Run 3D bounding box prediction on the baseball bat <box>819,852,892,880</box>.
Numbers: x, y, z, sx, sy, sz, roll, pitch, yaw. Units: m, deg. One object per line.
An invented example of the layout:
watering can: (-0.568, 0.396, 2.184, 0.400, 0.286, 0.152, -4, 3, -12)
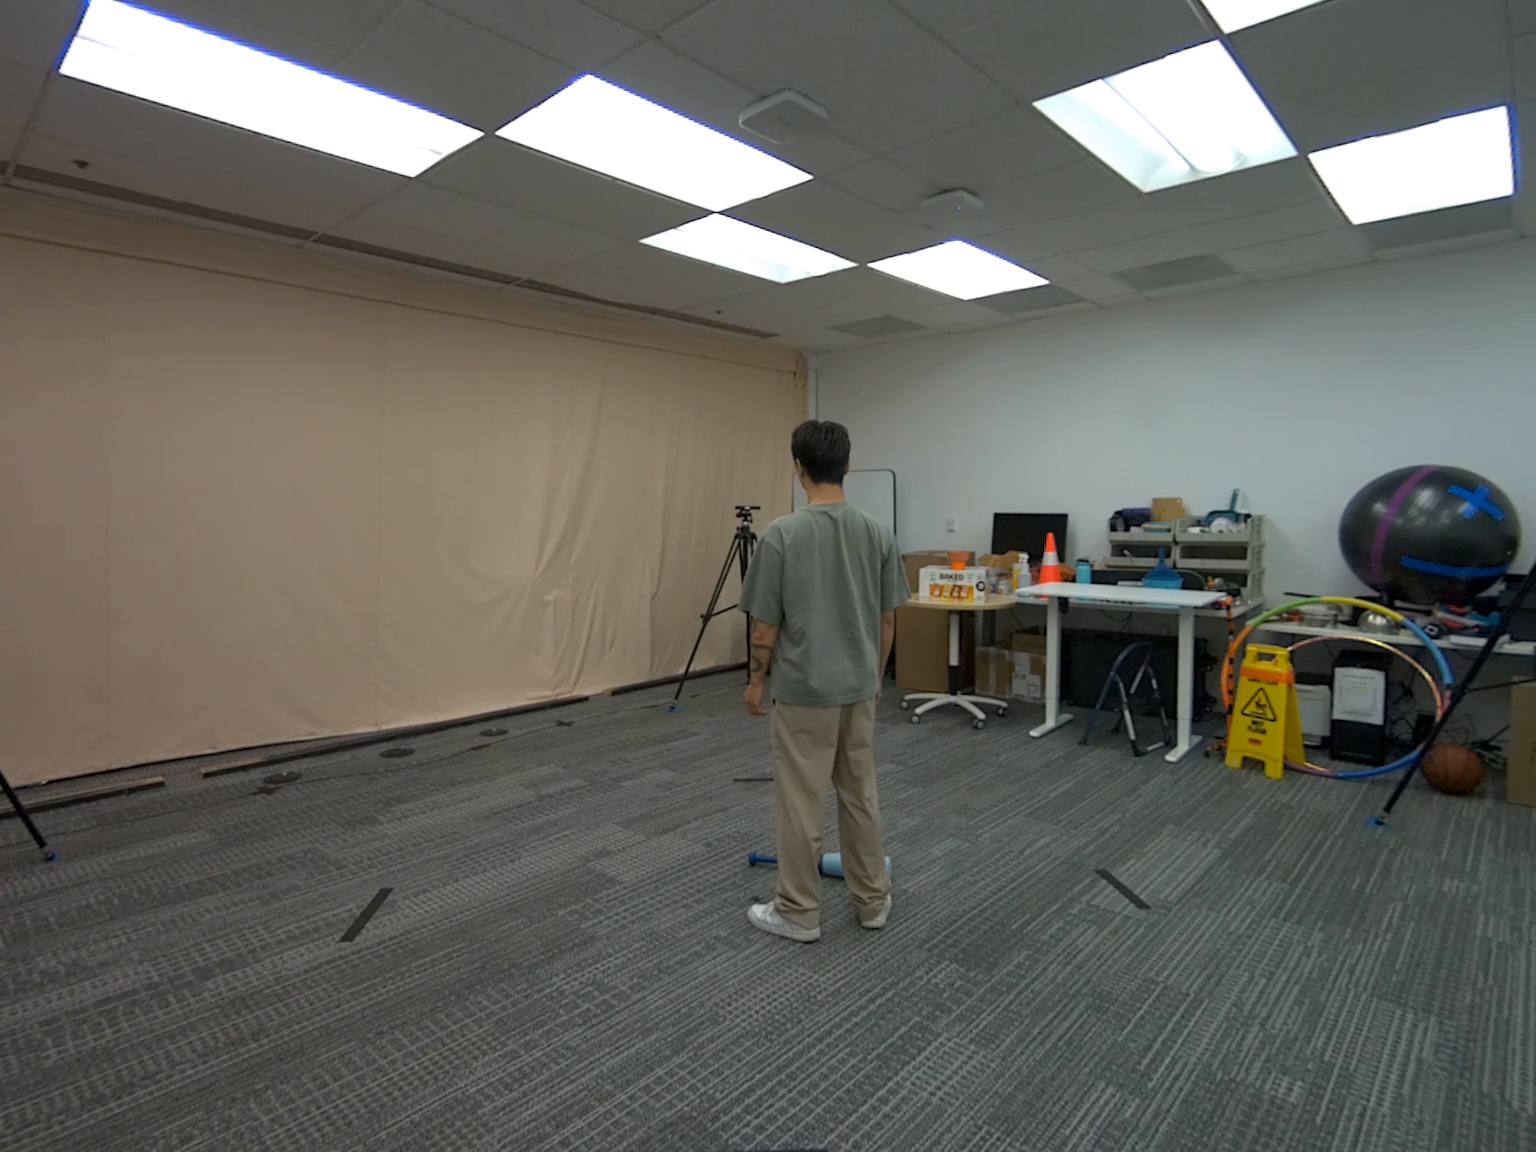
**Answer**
baseball bat: (0.199, 1.083, 3.183, 0.552, 0.089, 0.088, -1, 3, 16)
